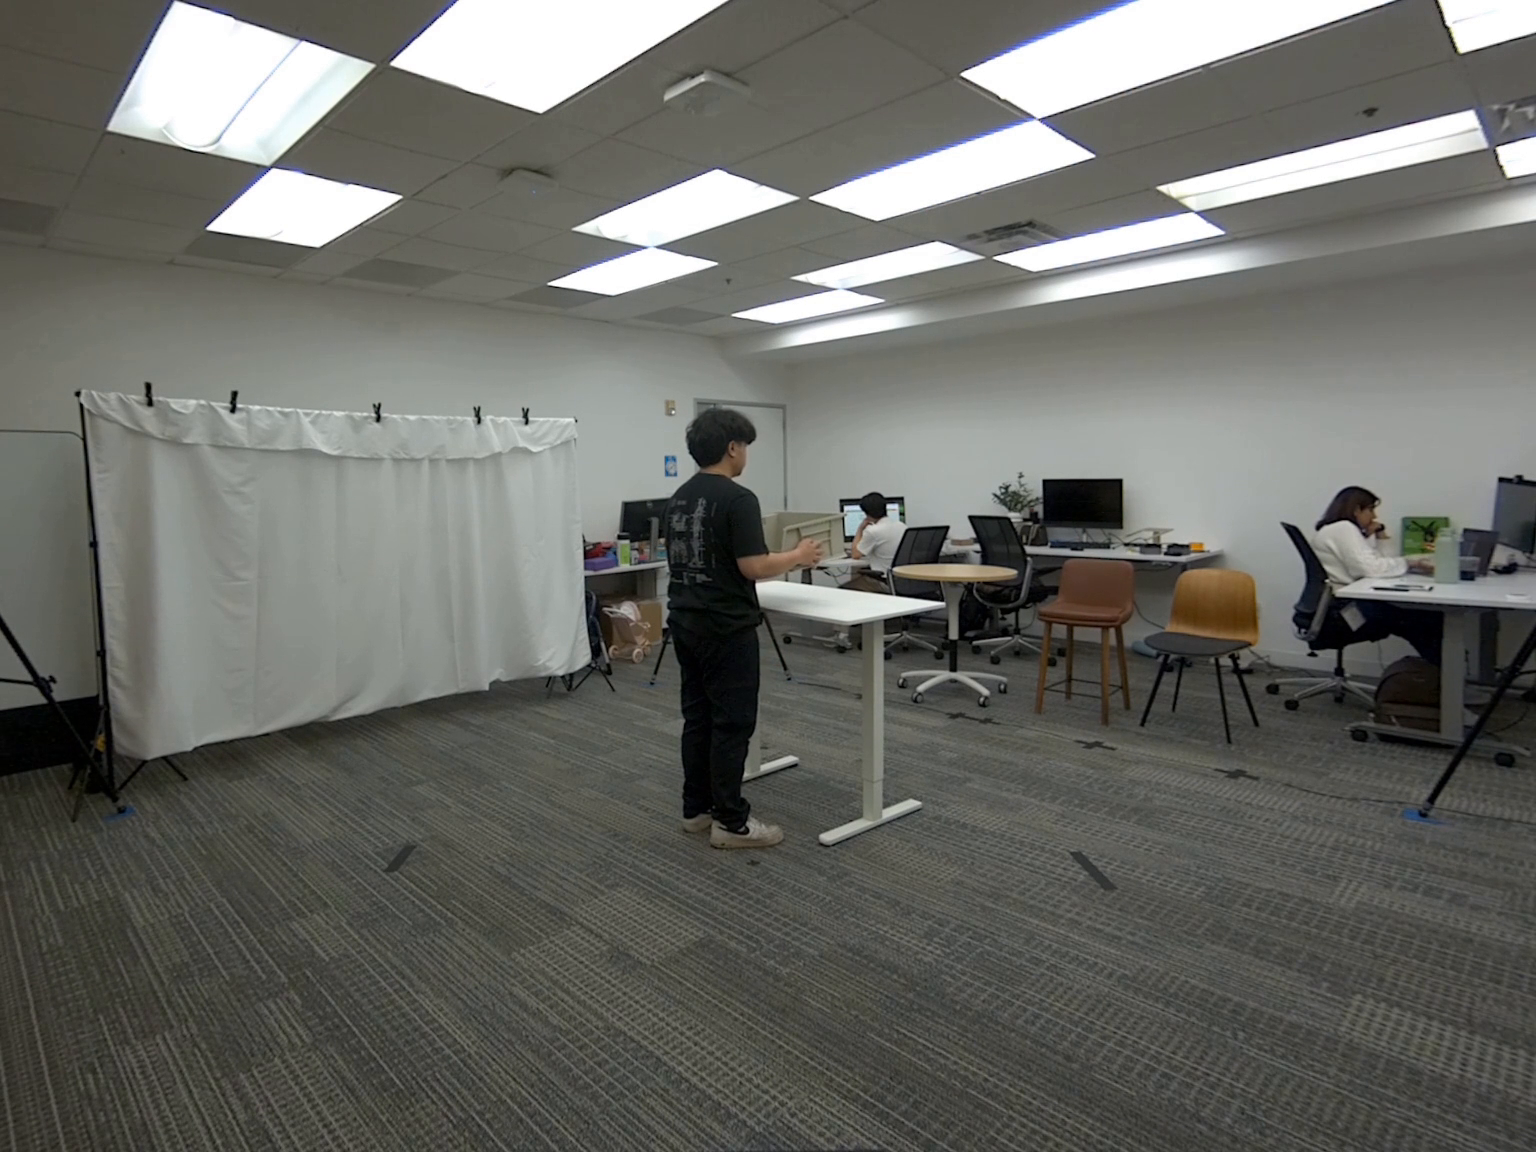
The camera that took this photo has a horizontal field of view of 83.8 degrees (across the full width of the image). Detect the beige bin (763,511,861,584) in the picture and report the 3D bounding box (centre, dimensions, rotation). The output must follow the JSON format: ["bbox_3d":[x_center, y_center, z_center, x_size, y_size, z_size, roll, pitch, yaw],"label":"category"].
[{"bbox_3d":[0.055,-0.146,3.535,0.369,0.187,0.435,-13,12,-38],"label":"beige bin"}]
